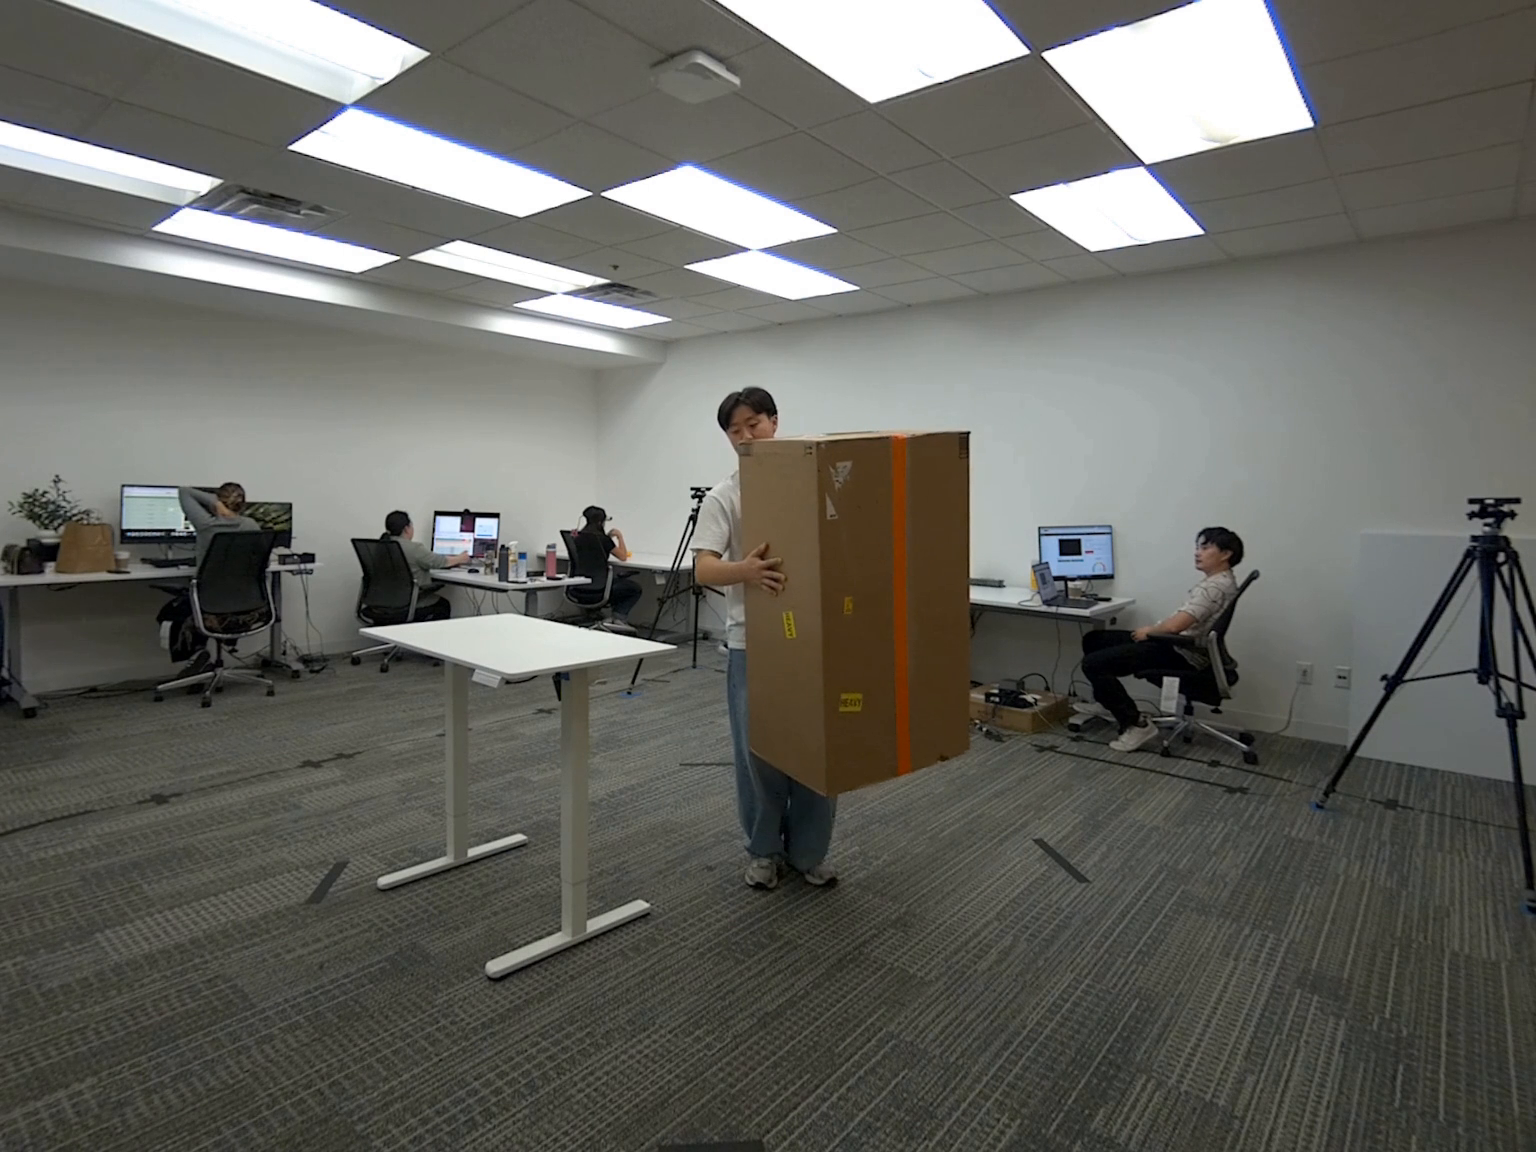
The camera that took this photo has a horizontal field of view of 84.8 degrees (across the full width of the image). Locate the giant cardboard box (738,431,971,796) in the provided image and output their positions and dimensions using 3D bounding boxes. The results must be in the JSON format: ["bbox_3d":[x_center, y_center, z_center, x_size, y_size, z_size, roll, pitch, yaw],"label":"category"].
[{"bbox_3d":[0.275,0.066,2.680,0.564,1.018,0.440,-7,9,-29],"label":"giant cardboard box"}]
